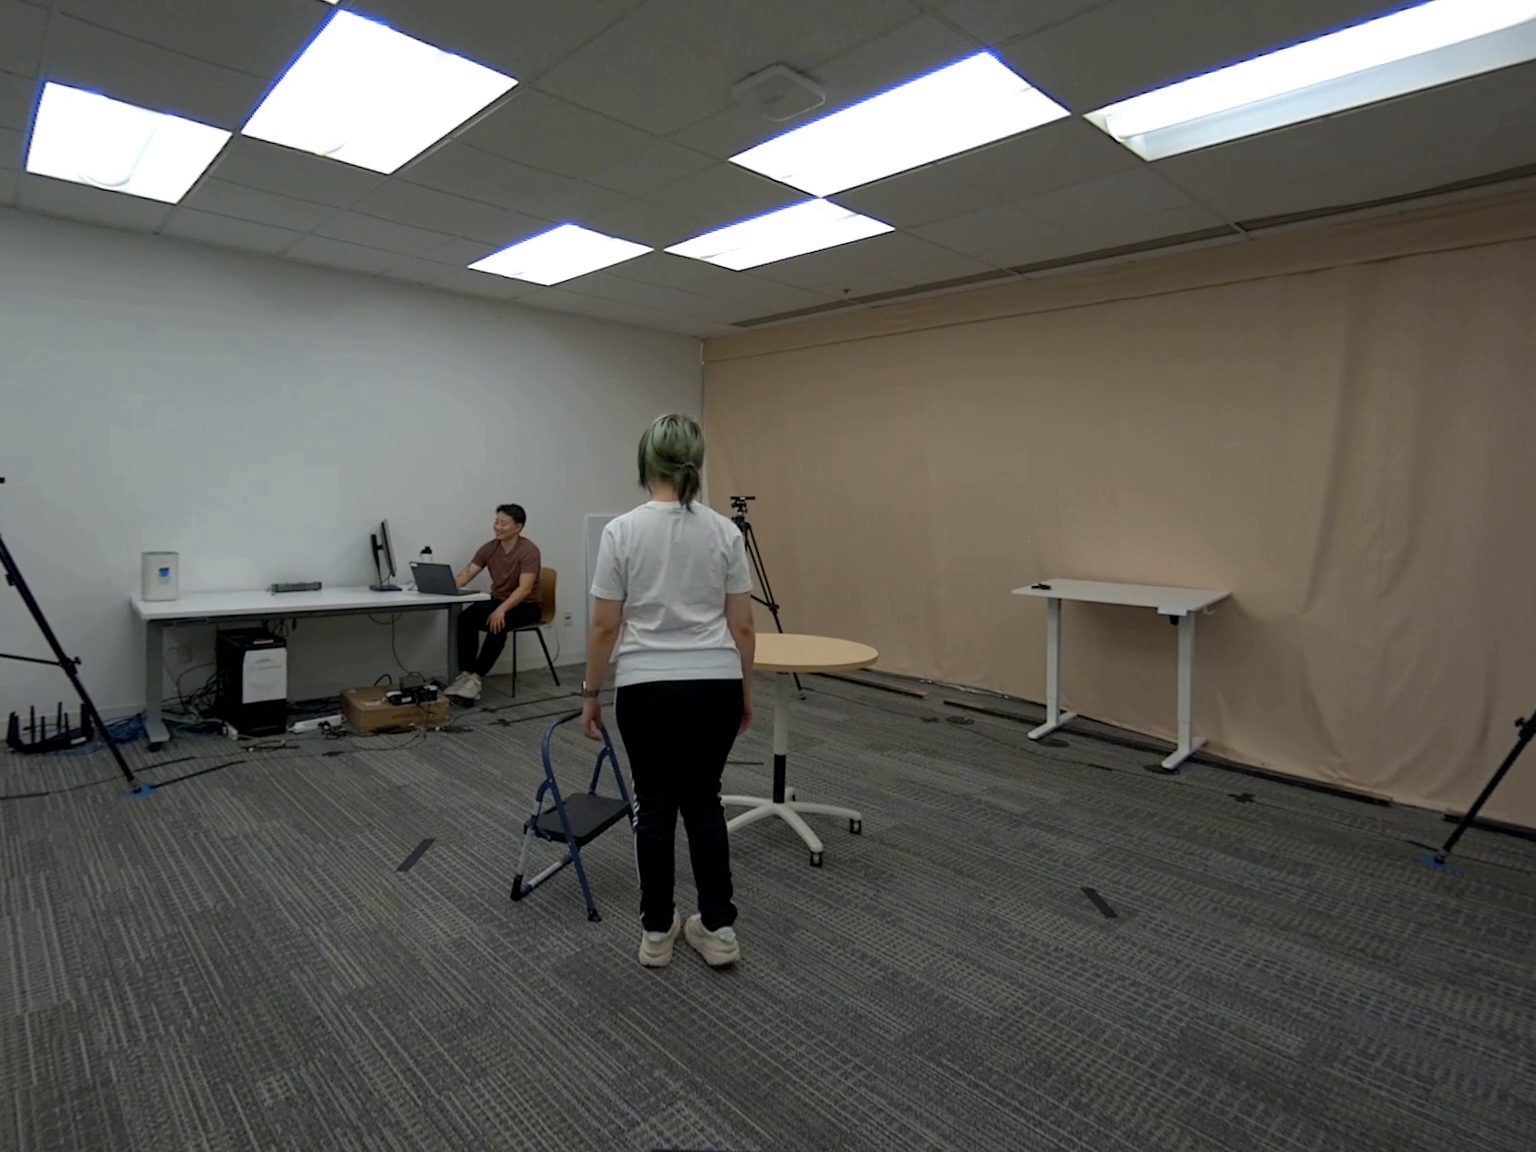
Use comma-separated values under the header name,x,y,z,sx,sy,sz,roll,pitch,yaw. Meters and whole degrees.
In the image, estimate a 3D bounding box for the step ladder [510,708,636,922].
name,x,y,z,sx,sy,sz,roll,pitch,yaw
step ladder,-0.651,0.802,2.983,0.355,0.604,0.425,3,4,19
